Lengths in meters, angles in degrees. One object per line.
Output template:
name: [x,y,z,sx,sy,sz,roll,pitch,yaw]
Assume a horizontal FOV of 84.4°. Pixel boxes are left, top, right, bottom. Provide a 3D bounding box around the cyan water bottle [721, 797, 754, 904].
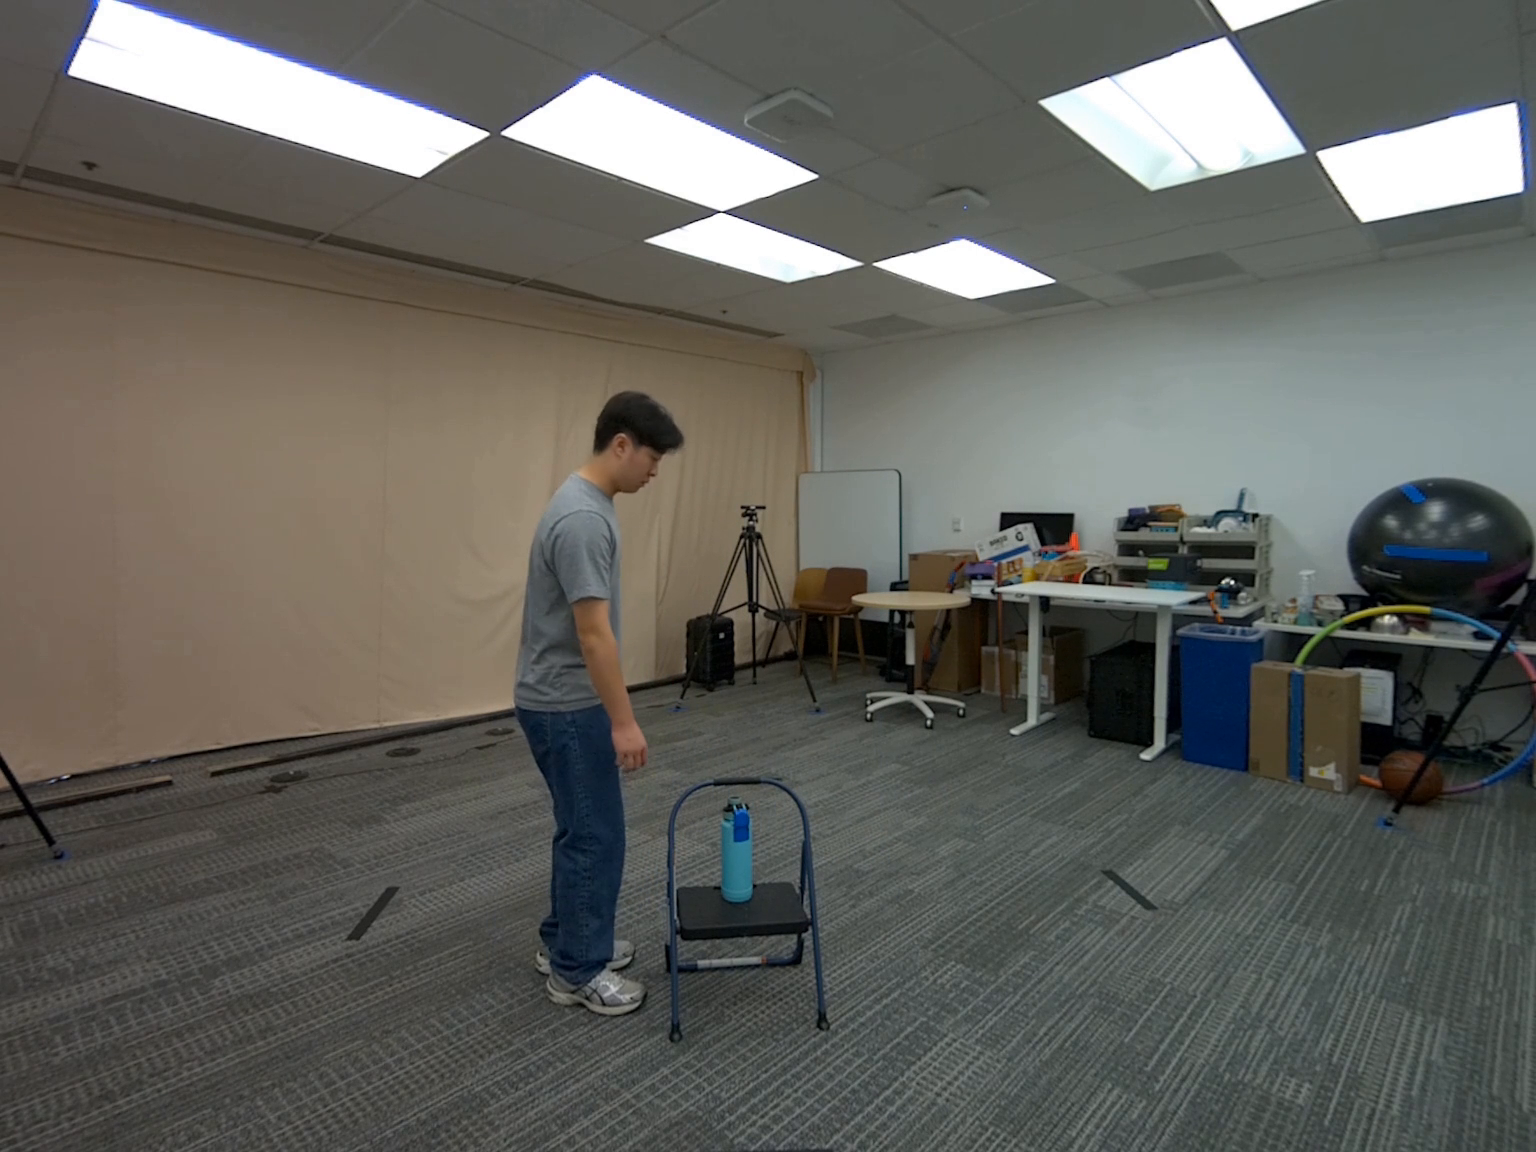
cyan water bottle: [-0.093,0.794,2.423,0.092,0.282,0.093,-2,5,-2]
